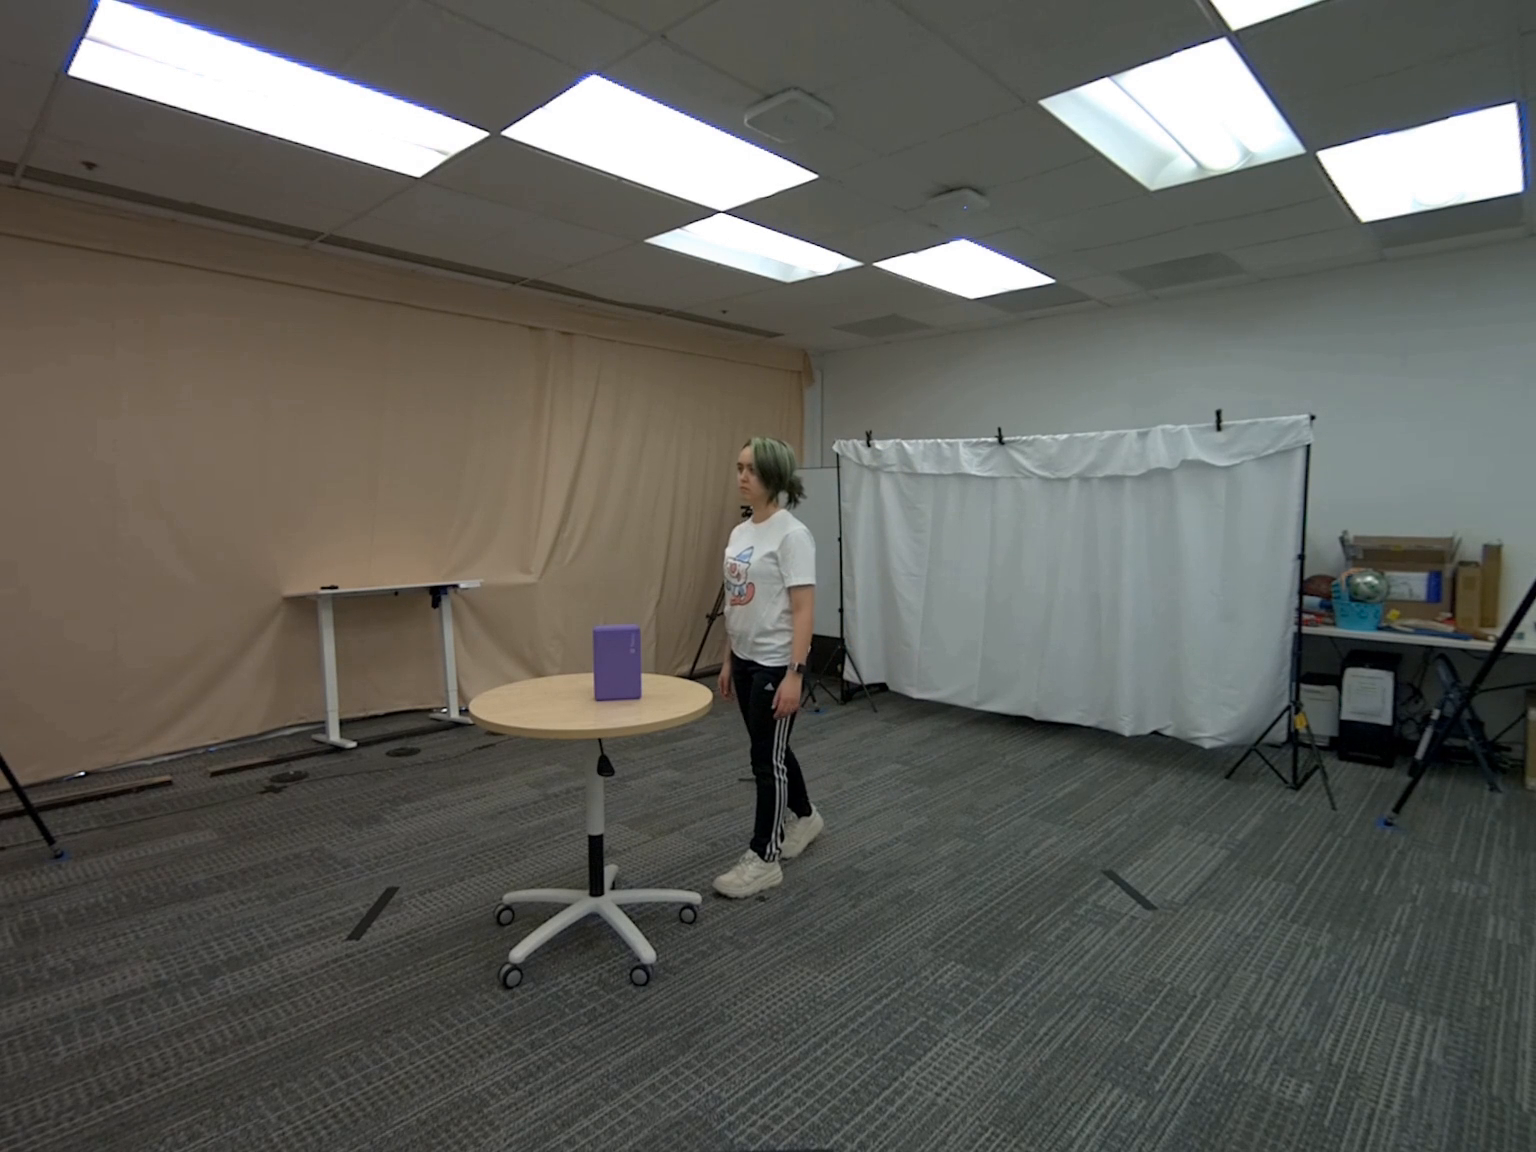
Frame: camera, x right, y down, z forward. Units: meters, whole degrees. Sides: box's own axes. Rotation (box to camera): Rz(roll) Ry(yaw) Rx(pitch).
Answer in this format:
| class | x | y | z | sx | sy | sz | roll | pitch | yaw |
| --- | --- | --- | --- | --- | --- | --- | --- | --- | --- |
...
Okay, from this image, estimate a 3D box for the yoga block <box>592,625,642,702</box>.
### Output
| class | x | y | z | sx | sy | sz | roll | pitch | yaw |
| --- | --- | --- | --- | --- | --- | --- | --- | --- | --- |
| yoga block | -0.484 | 0.276 | 2.665 | 0.148 | 0.229 | 0.077 | -2 | 3 | -5 |
